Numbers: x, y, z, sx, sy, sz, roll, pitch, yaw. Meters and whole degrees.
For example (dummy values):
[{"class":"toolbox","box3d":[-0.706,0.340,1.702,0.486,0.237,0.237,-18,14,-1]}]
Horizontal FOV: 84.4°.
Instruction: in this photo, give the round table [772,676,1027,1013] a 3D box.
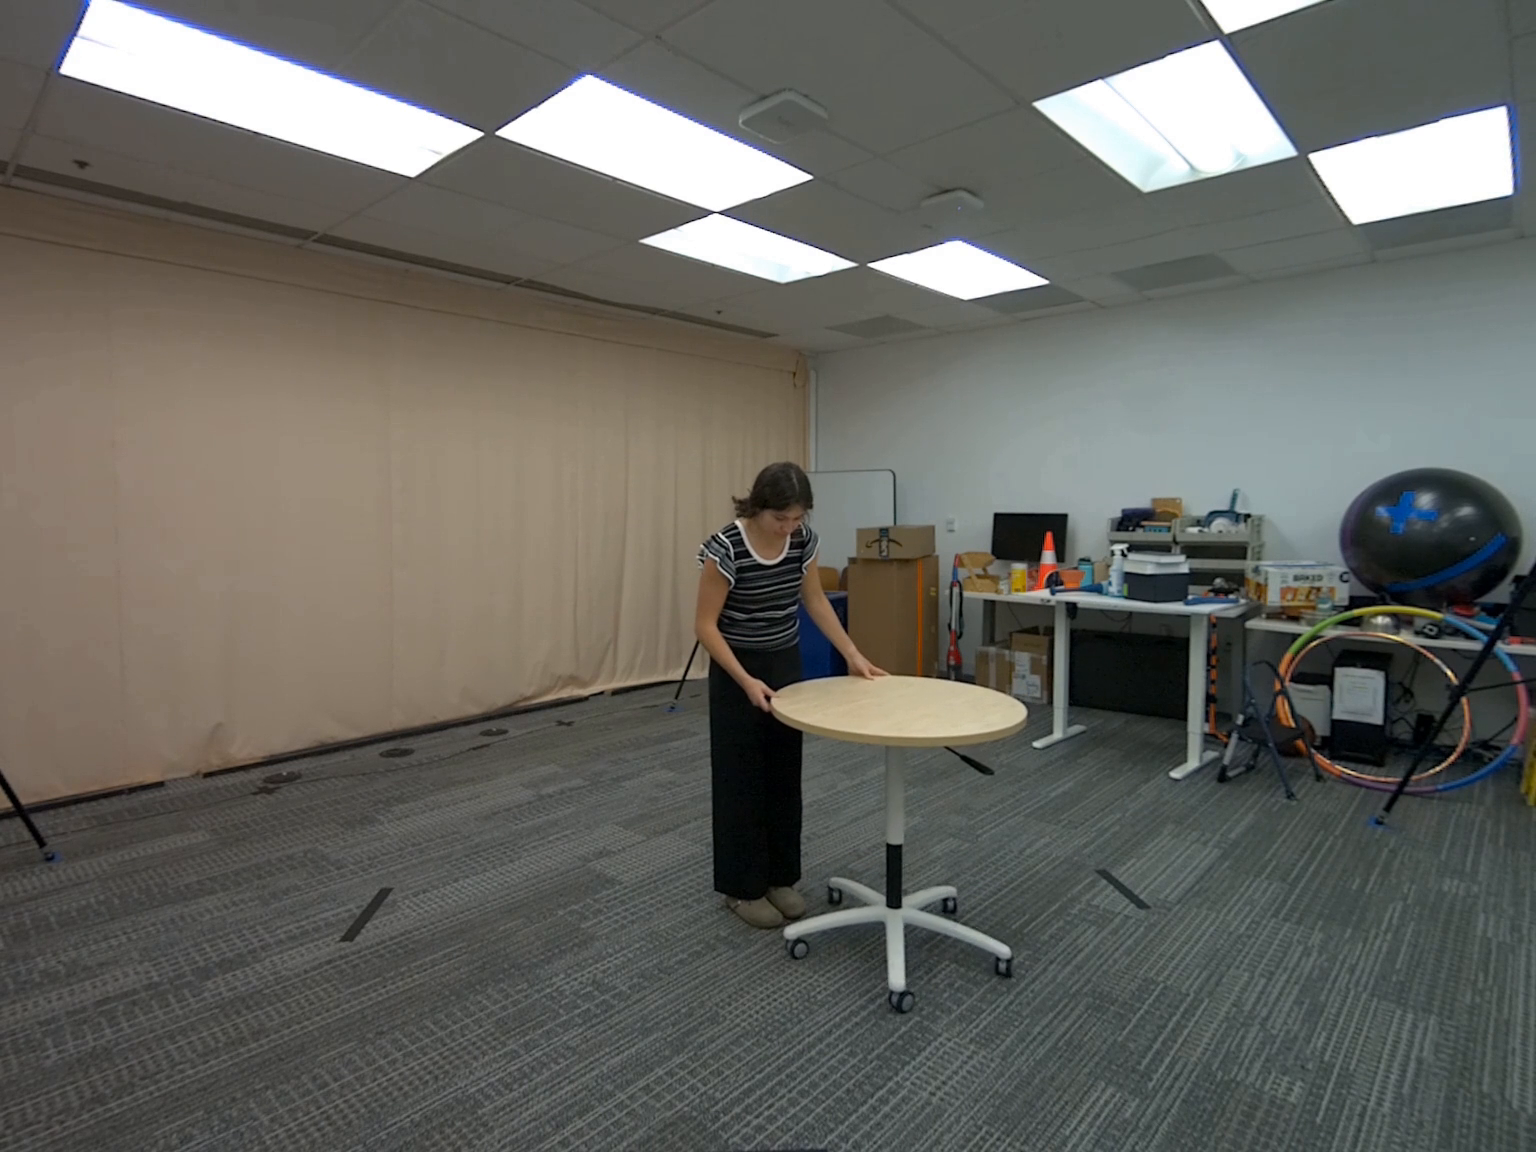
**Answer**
[{"class":"round table","box3d":[0.389,0.777,2.623,0.784,0.784,0.788,0,4,-2]}]
